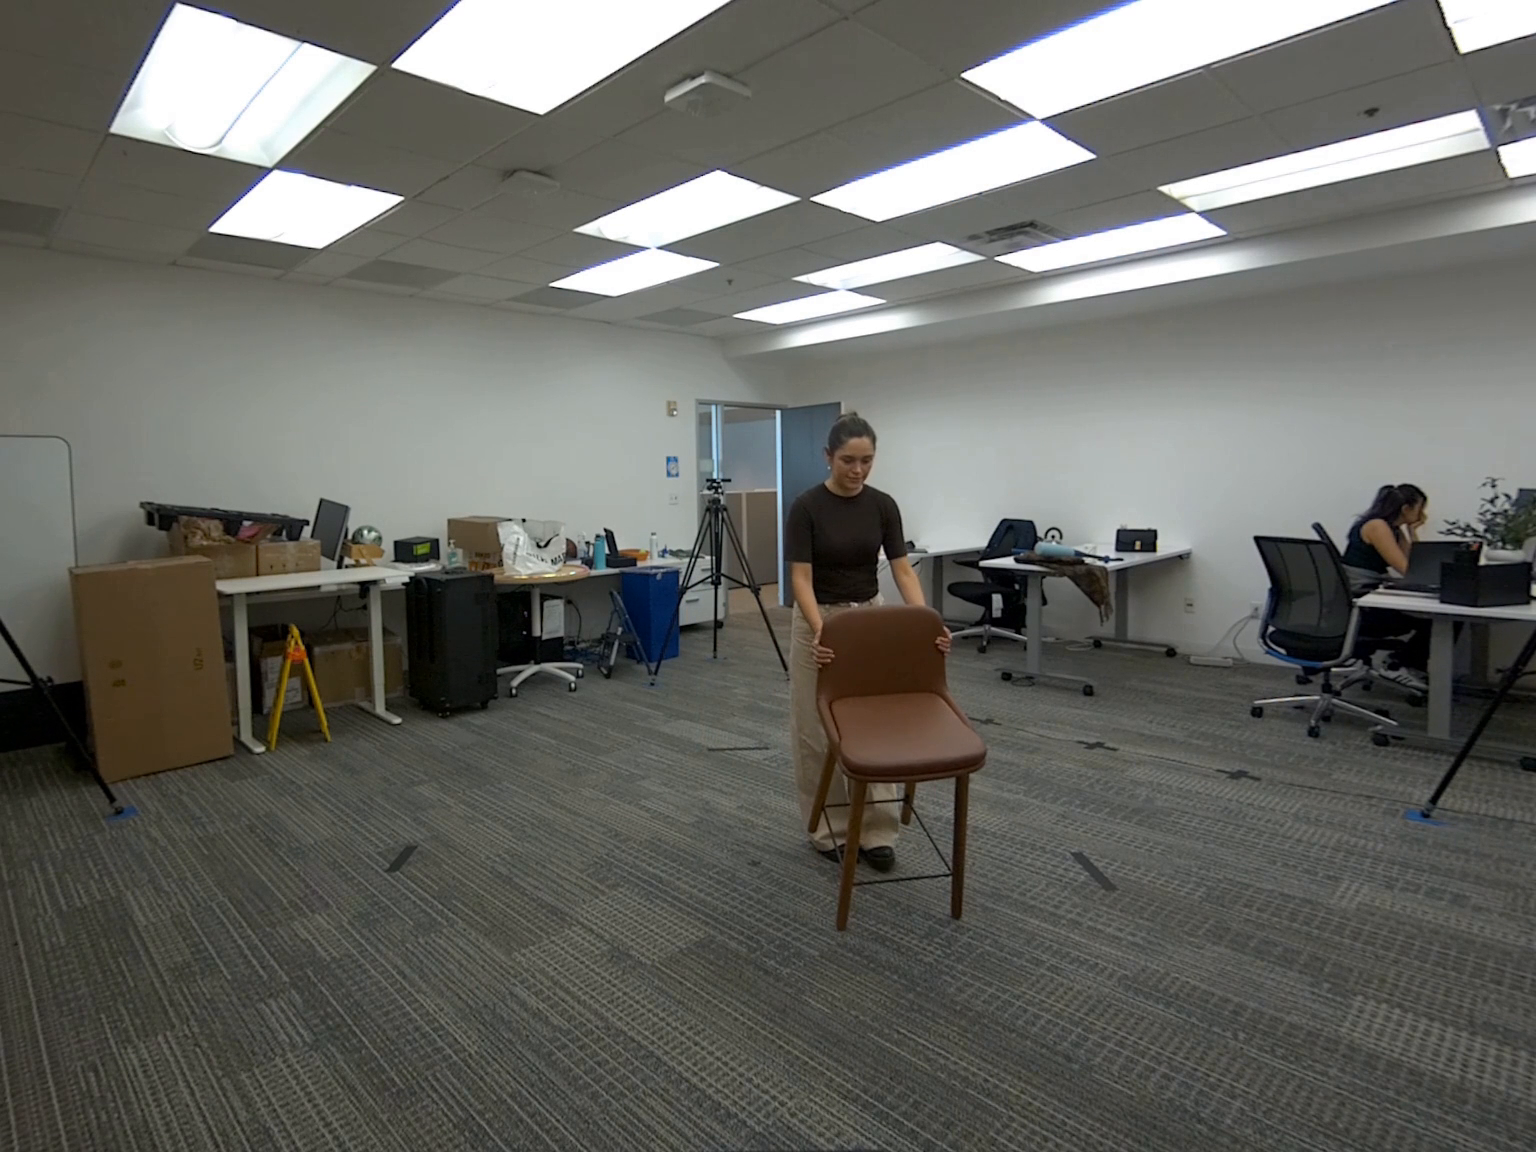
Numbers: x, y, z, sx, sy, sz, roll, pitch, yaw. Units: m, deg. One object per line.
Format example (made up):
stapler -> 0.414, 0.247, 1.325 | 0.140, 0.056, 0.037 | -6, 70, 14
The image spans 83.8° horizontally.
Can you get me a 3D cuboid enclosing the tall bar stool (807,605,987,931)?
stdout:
tall bar stool -> 0.395, 0.599, 2.707 | 0.452, 0.875, 0.481 | -2, 21, -12
